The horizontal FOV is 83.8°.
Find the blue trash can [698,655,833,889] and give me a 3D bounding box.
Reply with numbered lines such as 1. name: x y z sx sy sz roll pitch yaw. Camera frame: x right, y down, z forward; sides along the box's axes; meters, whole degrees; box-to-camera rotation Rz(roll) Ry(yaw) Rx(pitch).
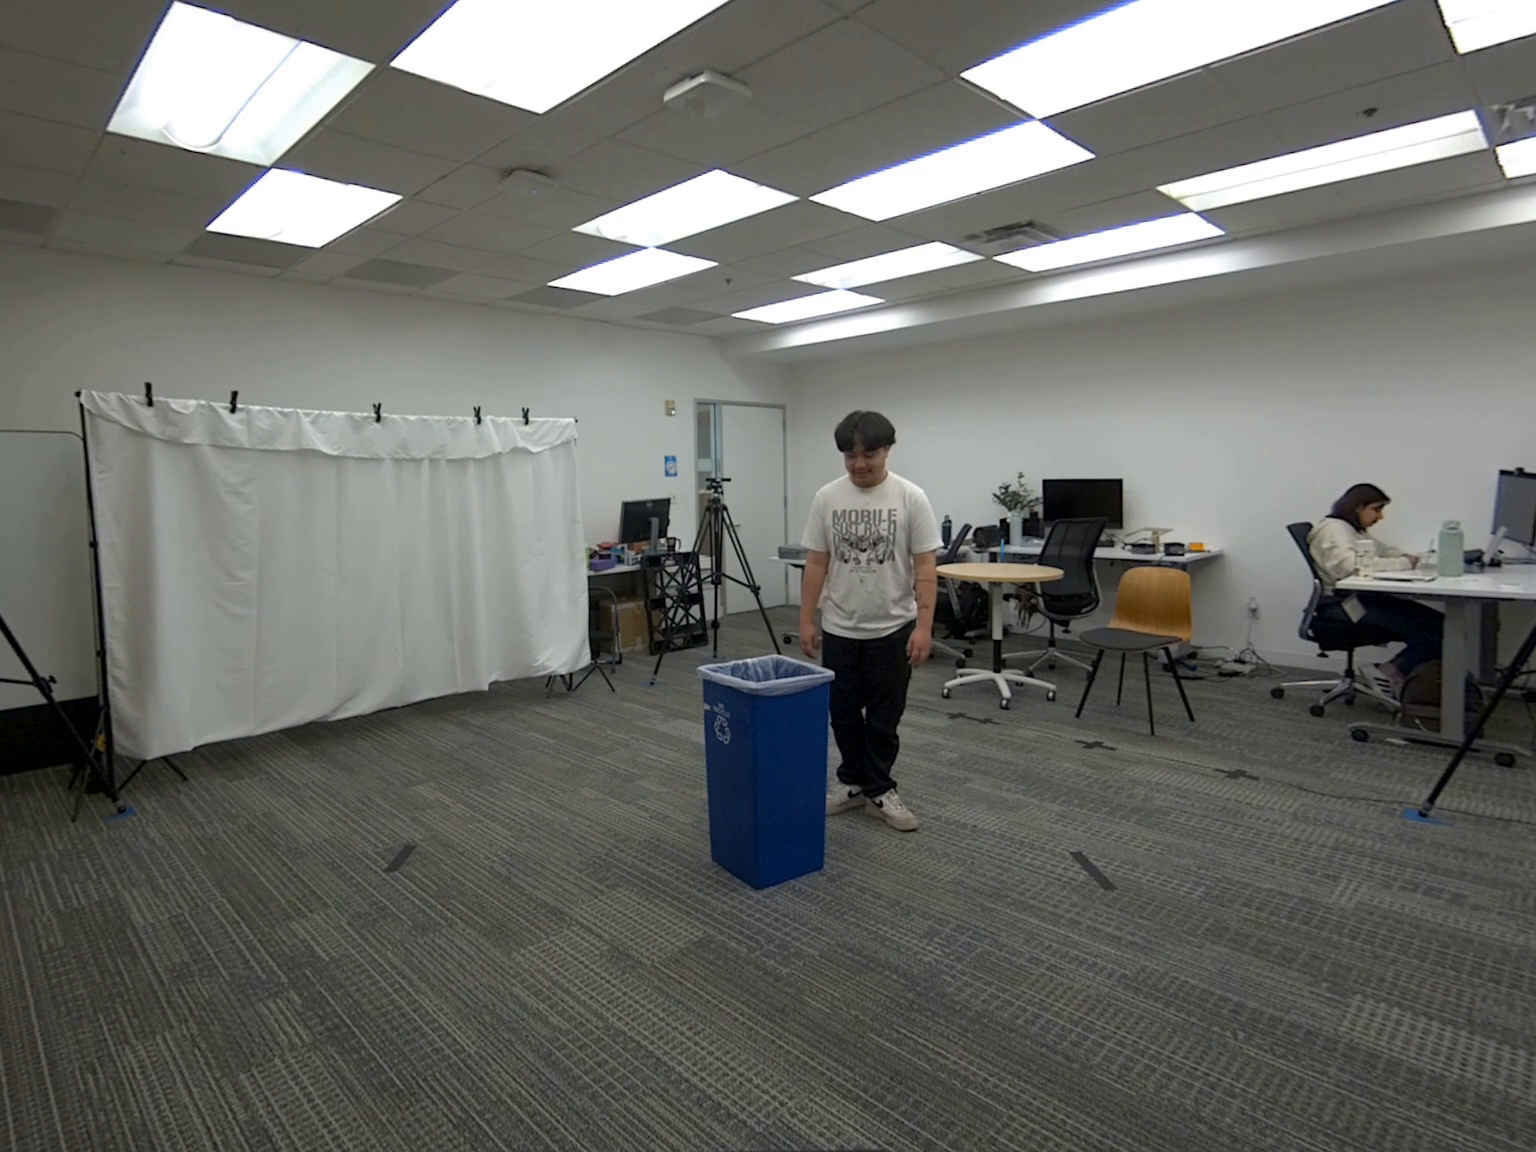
1. blue trash can: 0.001 0.686 3.069 0.368 0.711 0.385 -4 5 -35
